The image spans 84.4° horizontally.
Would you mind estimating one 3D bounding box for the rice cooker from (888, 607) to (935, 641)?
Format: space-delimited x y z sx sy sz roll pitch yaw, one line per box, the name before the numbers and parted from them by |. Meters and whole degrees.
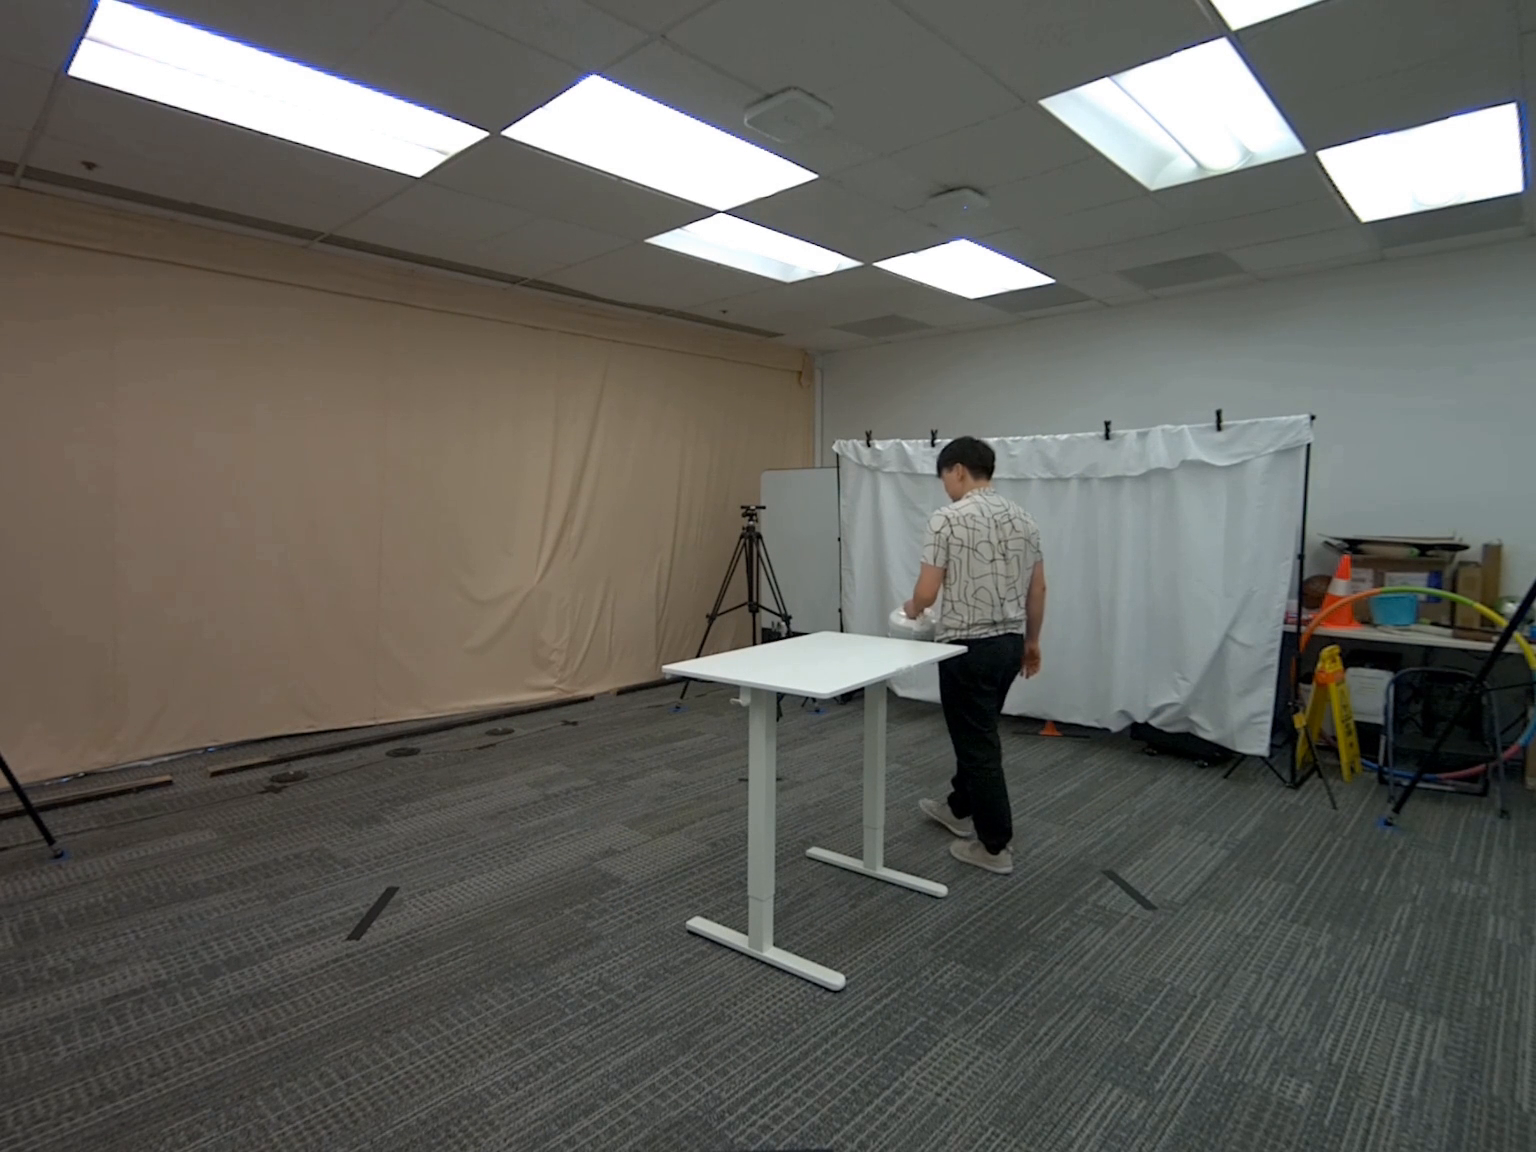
rice cooker | 0.622 0.236 3.541 0.216 0.230 0.224 -4 20 -5
